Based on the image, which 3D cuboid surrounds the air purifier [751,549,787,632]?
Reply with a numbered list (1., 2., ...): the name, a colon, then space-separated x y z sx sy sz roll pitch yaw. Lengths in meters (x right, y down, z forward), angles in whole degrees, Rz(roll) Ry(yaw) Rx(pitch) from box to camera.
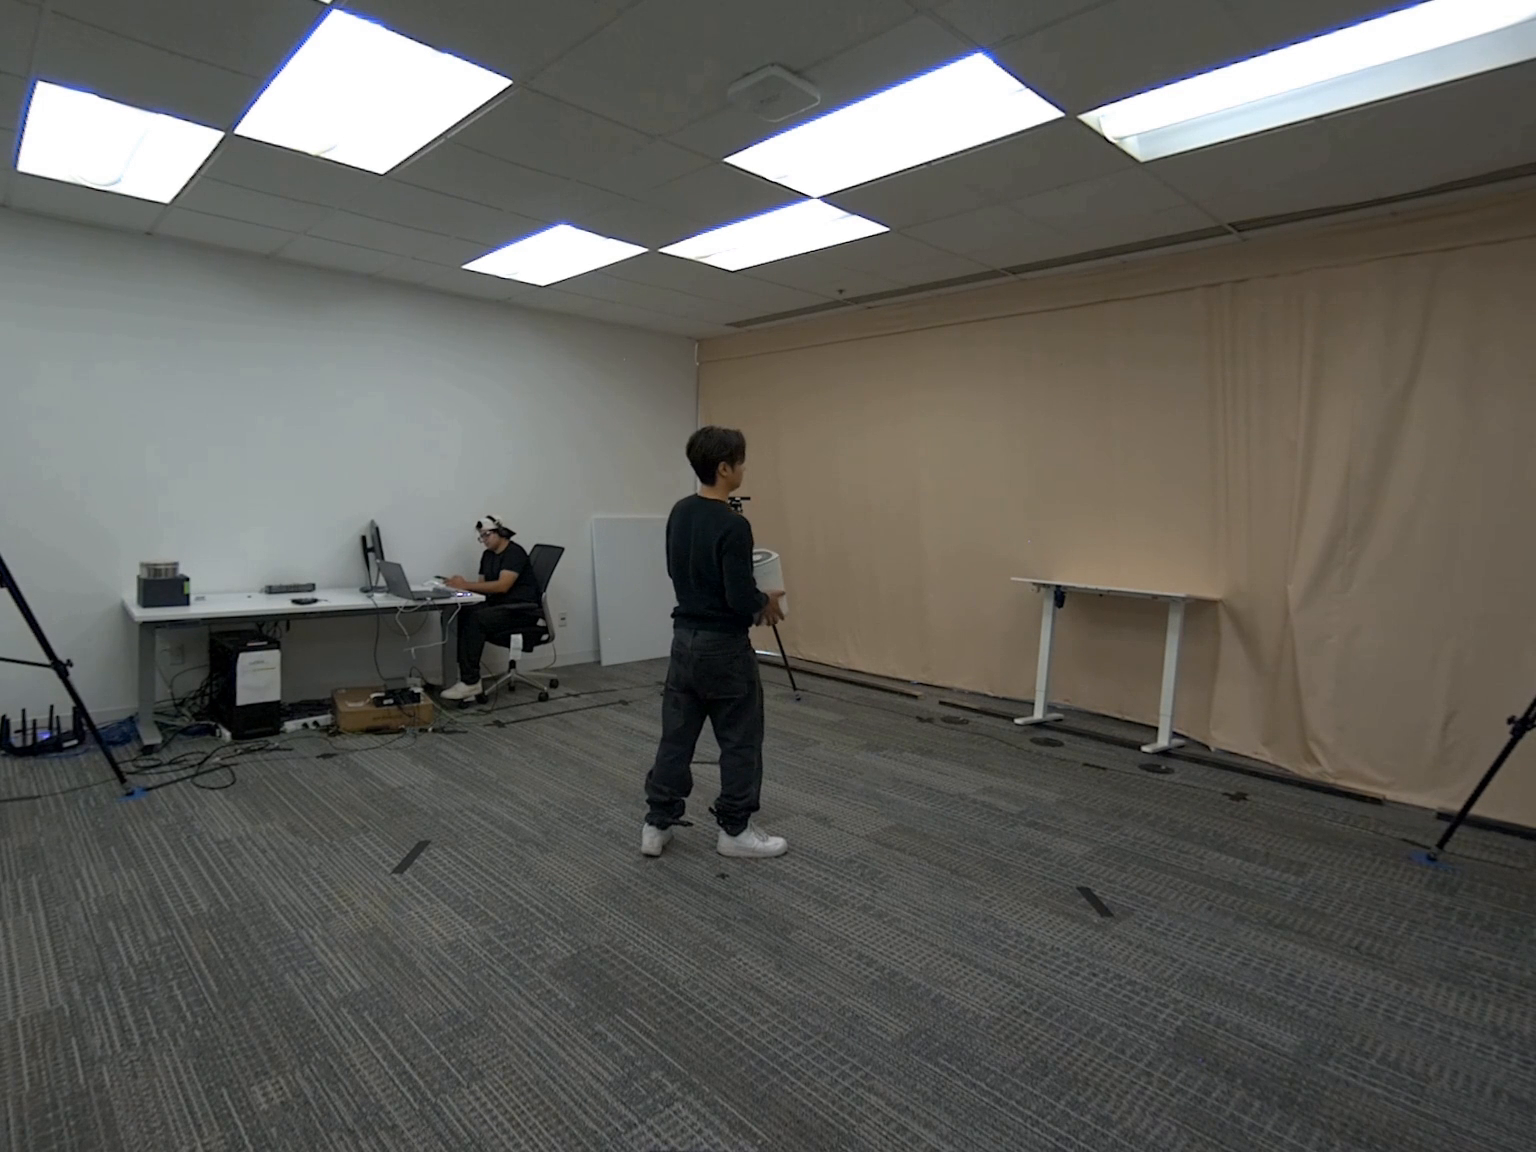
1. air purifier: -0.072 0.051 3.398 0.176 0.261 0.169 8 27 45
